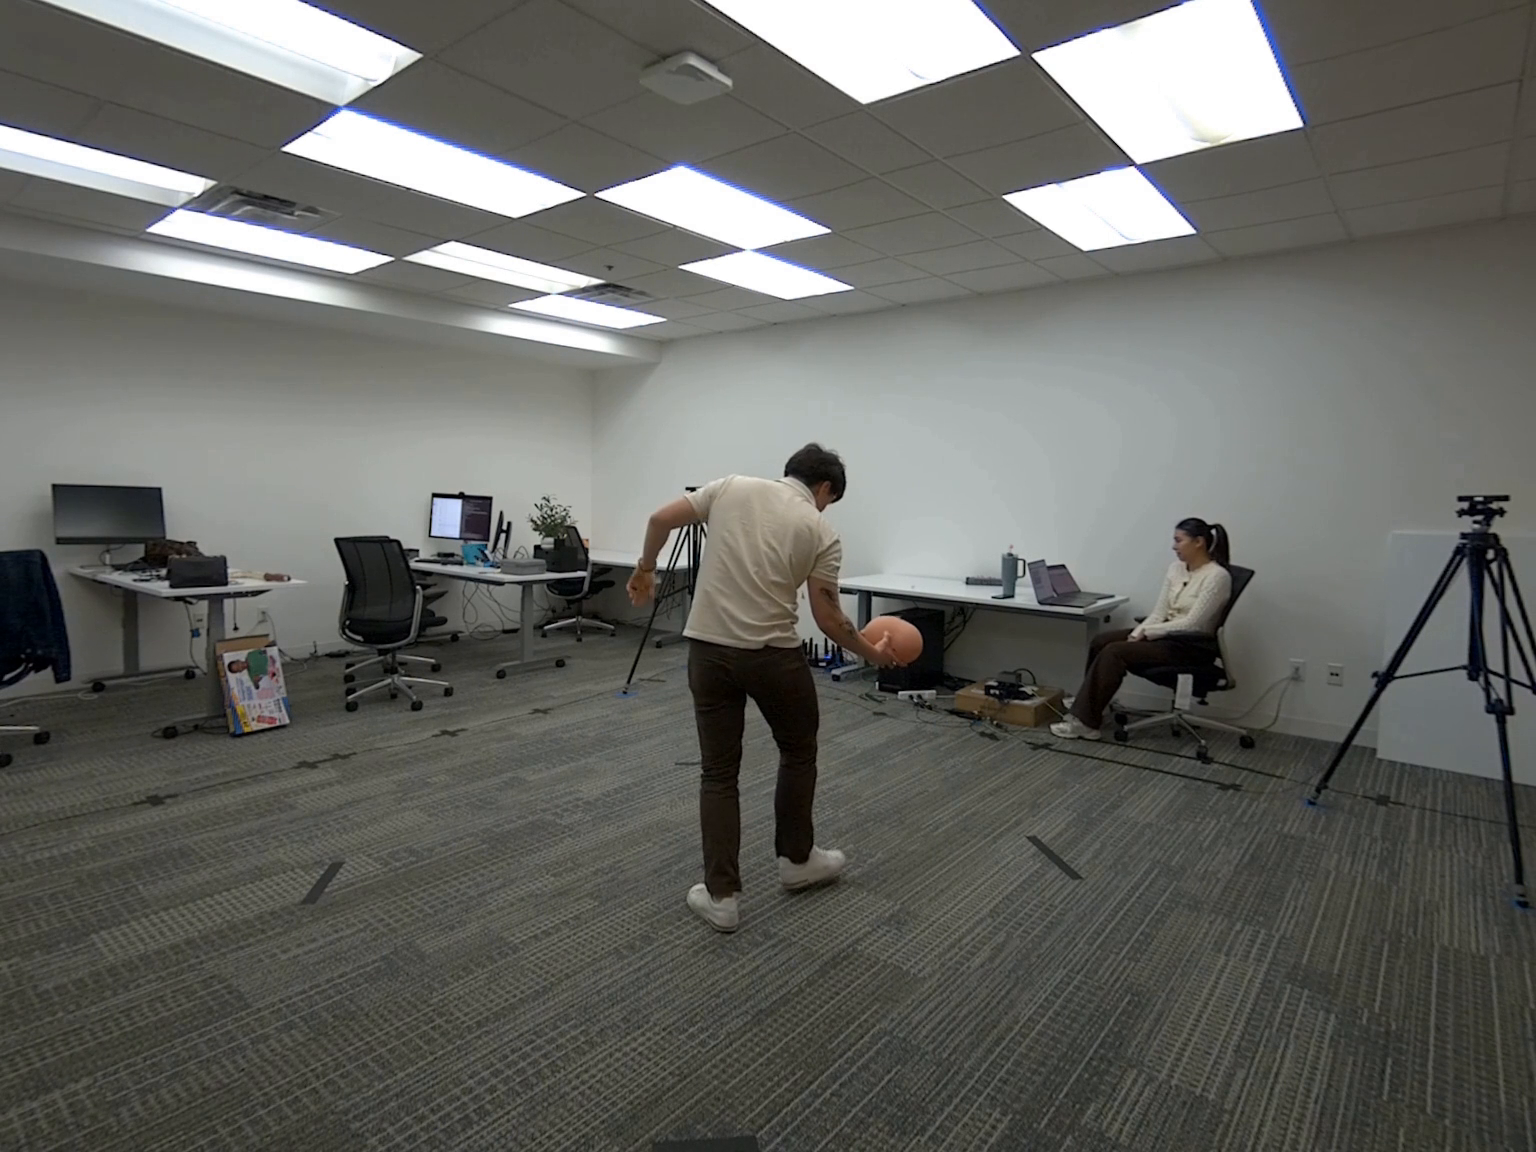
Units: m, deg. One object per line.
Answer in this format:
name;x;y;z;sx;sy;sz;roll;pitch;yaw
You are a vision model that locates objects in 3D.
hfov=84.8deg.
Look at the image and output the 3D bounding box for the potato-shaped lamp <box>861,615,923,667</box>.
potato-shaped lamp;0.444;0.241;3.024;0.206;0.160;0.170;17;41;41
